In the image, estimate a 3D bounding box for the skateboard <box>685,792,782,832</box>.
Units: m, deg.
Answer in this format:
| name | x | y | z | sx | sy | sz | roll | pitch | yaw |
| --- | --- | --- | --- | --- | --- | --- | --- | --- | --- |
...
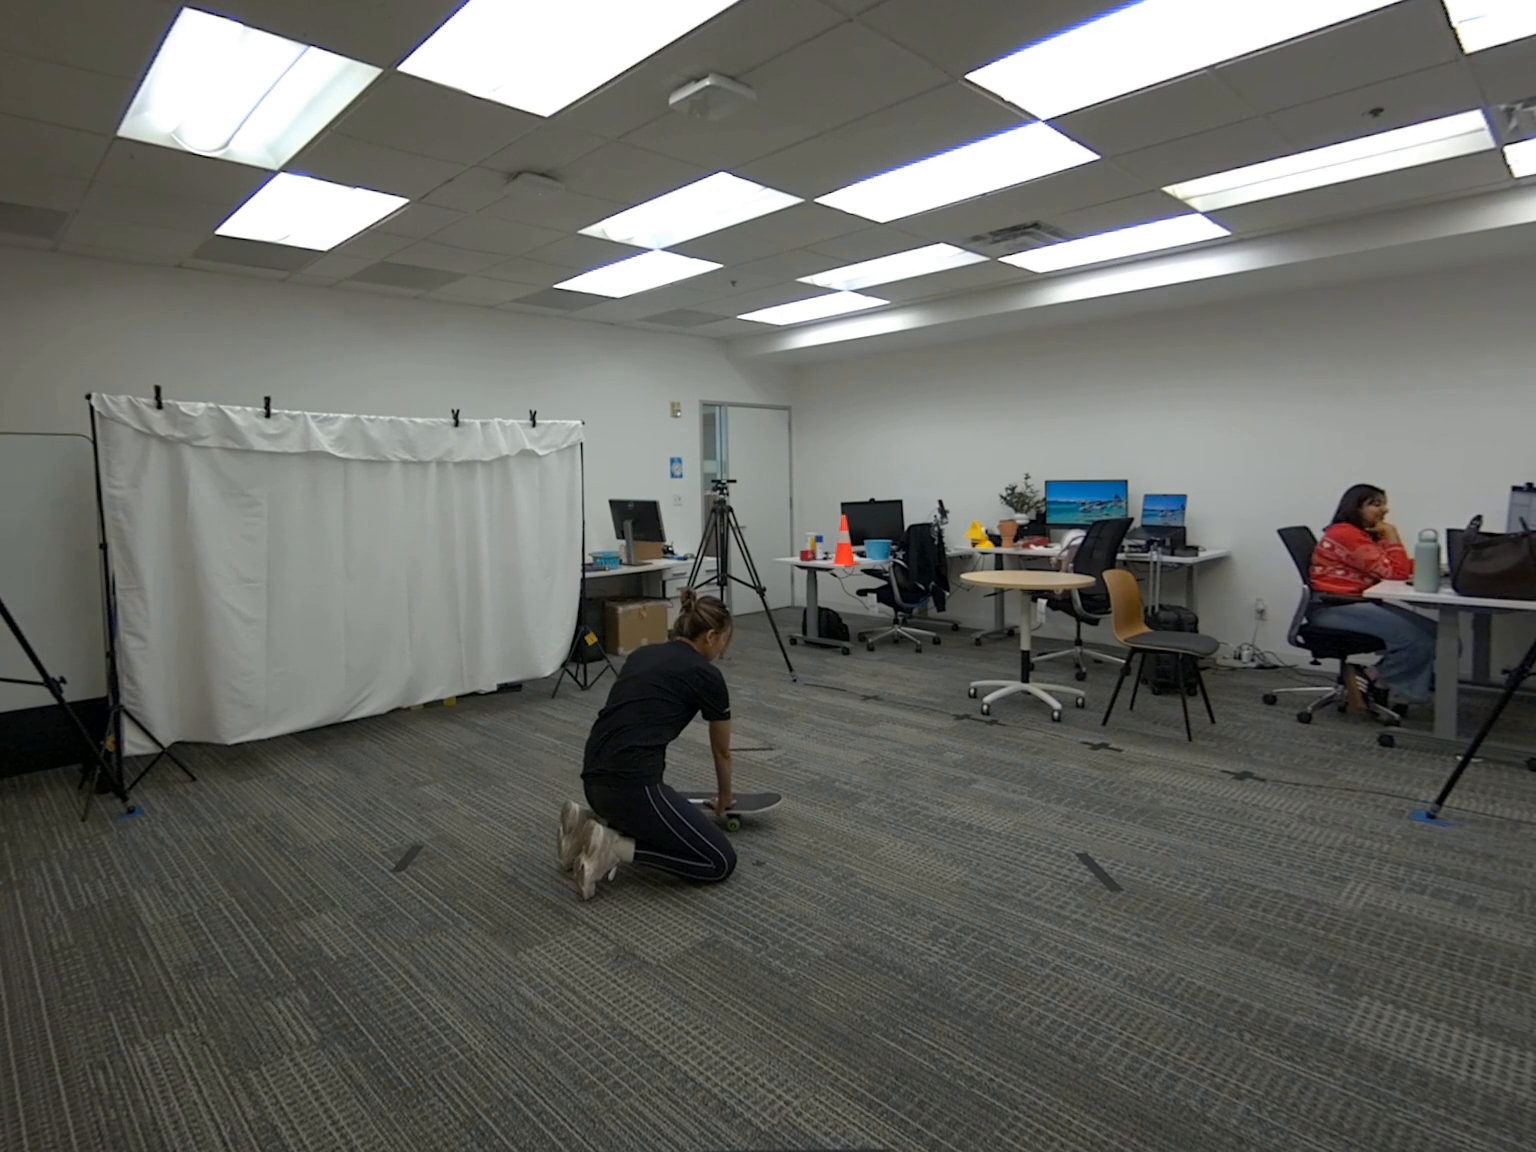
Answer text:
| name | x | y | z | sx | sy | sz | roll | pitch | yaw |
| --- | --- | --- | --- | --- | --- | --- | --- | --- | --- |
| skateboard | -0.322 | 0.948 | 3.495 | 0.790 | 0.110 | 0.193 | 0 | 6 | 6 |
